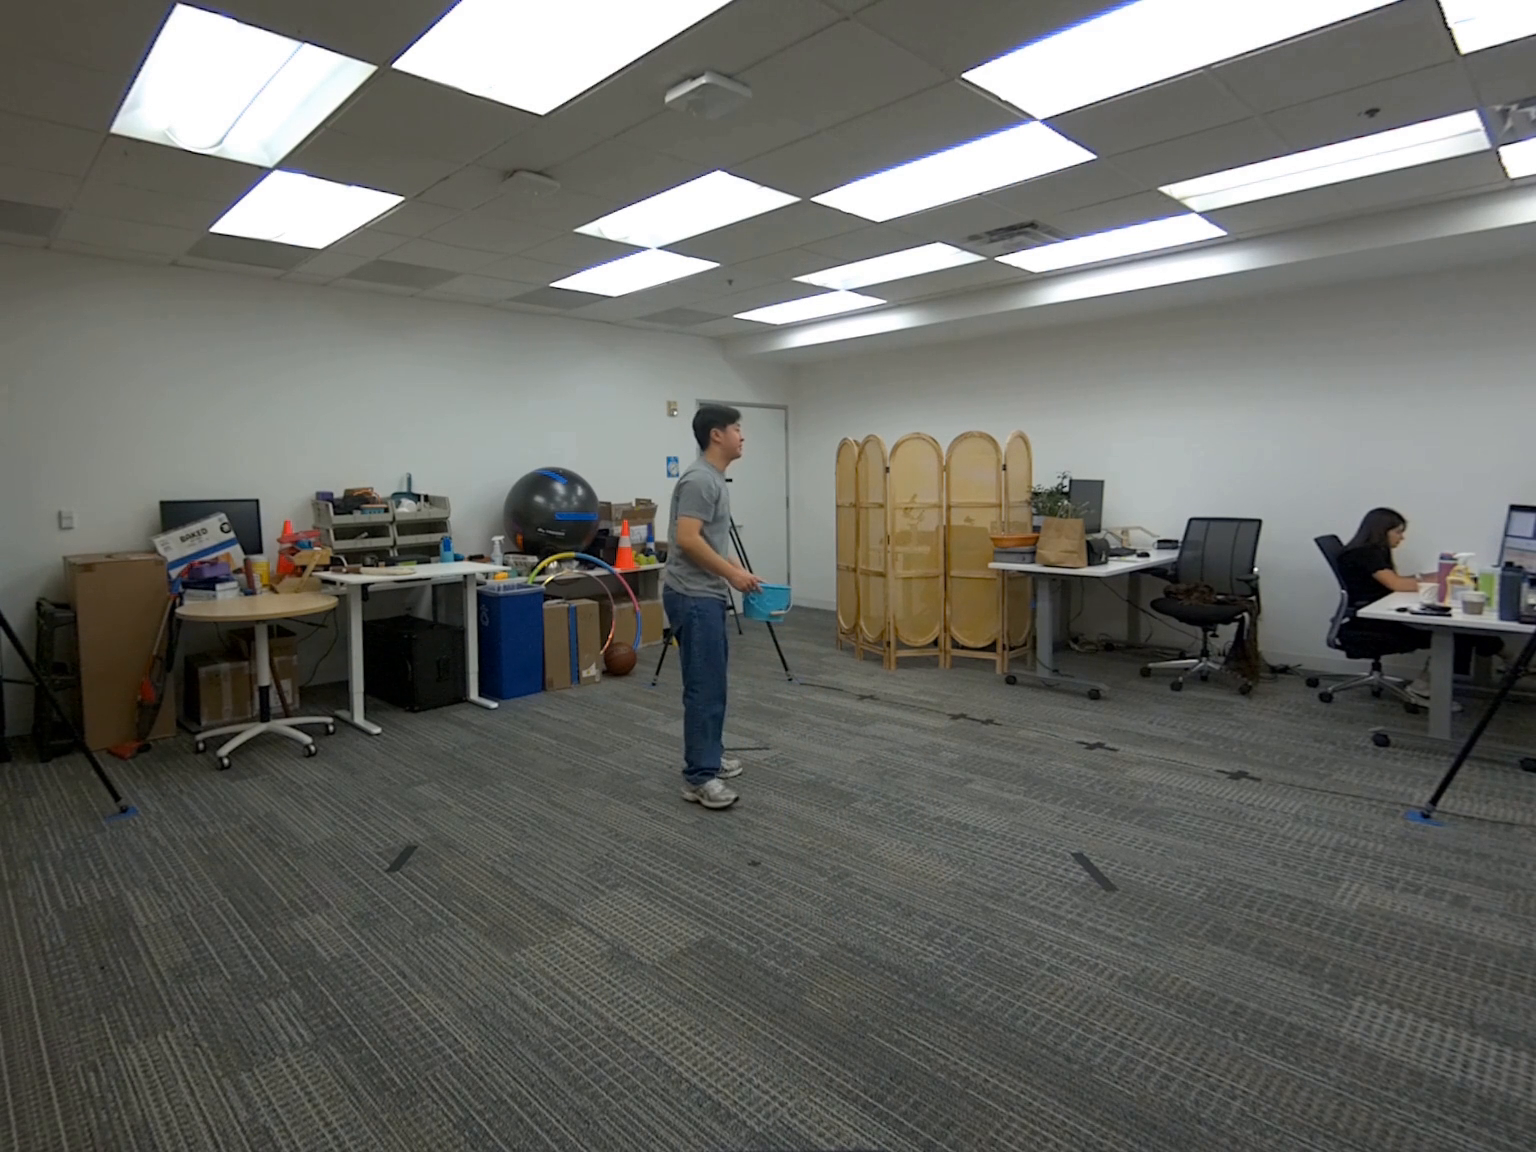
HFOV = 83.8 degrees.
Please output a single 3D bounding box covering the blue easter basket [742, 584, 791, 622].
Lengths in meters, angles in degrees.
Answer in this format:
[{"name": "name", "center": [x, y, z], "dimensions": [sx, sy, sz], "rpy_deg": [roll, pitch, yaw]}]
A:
[{"name": "blue easter basket", "center": [-0.017, 0.116, 3.806], "dimensions": [0.243, 0.156, 0.244], "rpy_deg": [4, 1, -2]}]
